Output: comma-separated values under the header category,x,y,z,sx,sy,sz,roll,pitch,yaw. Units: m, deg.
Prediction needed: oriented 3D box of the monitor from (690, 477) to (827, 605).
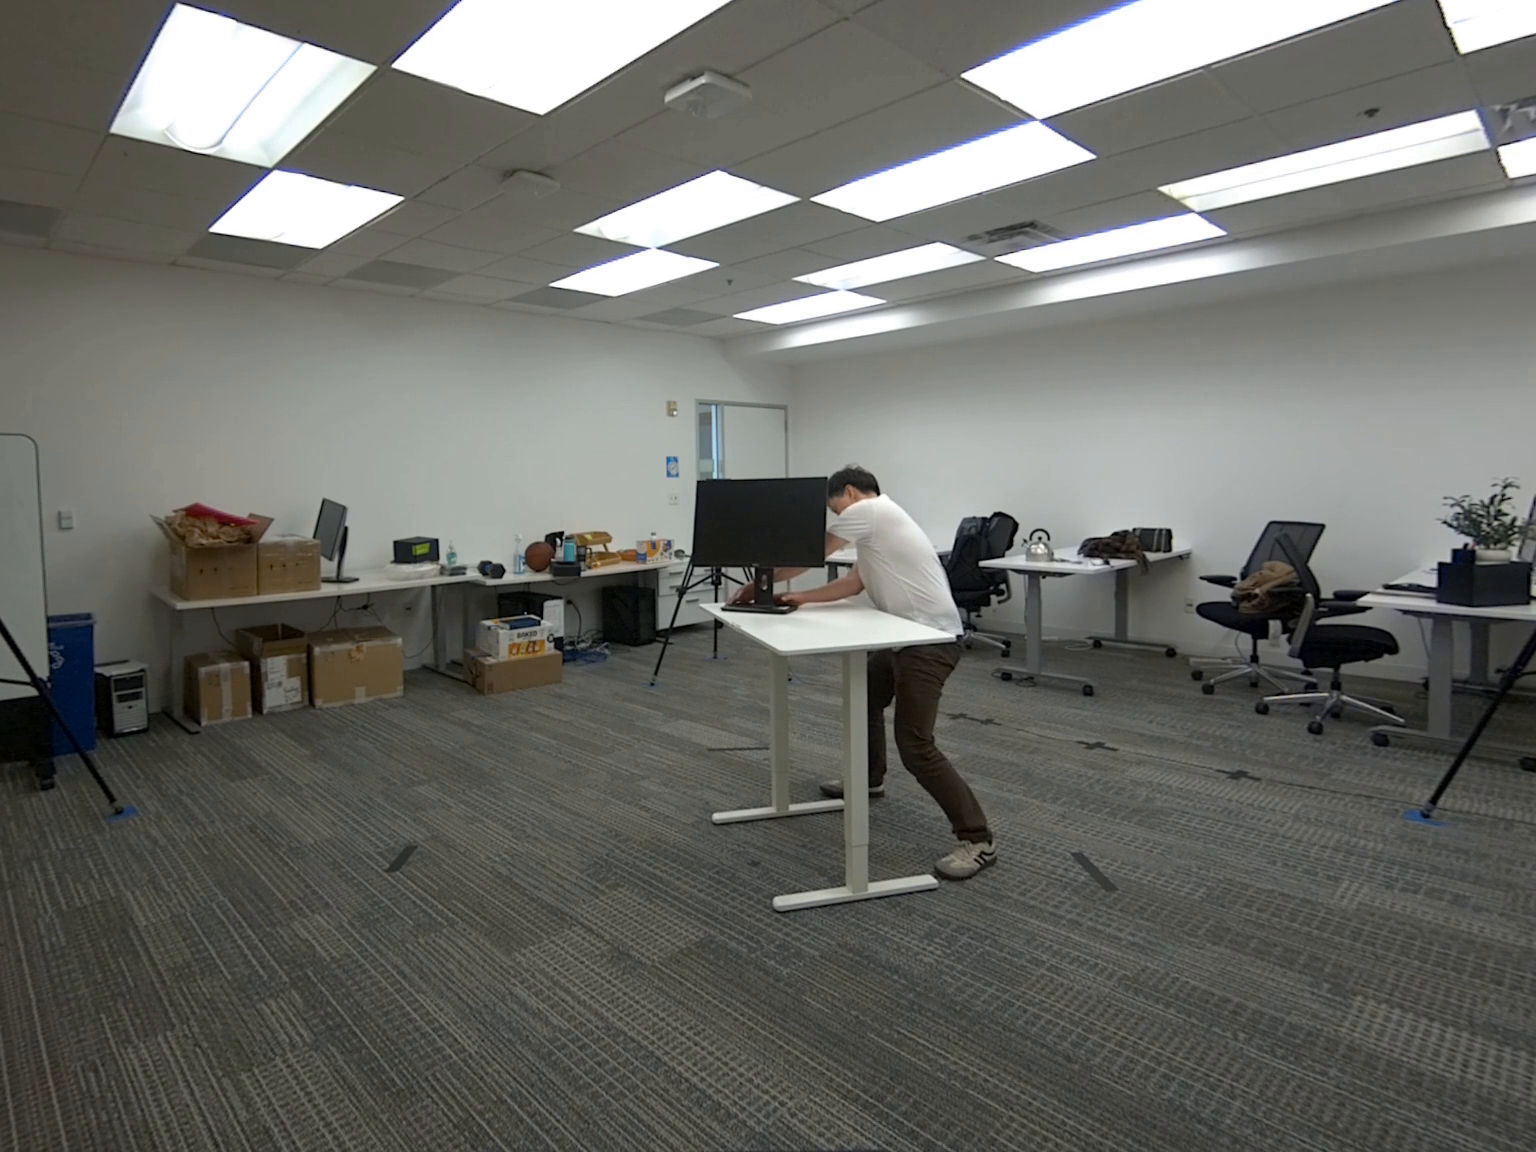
category,x,y,z,sx,sy,sz,roll,pitch,yaw
monitor,-0.031,-0.122,3.348,0.548,0.522,0.184,1,1,17
